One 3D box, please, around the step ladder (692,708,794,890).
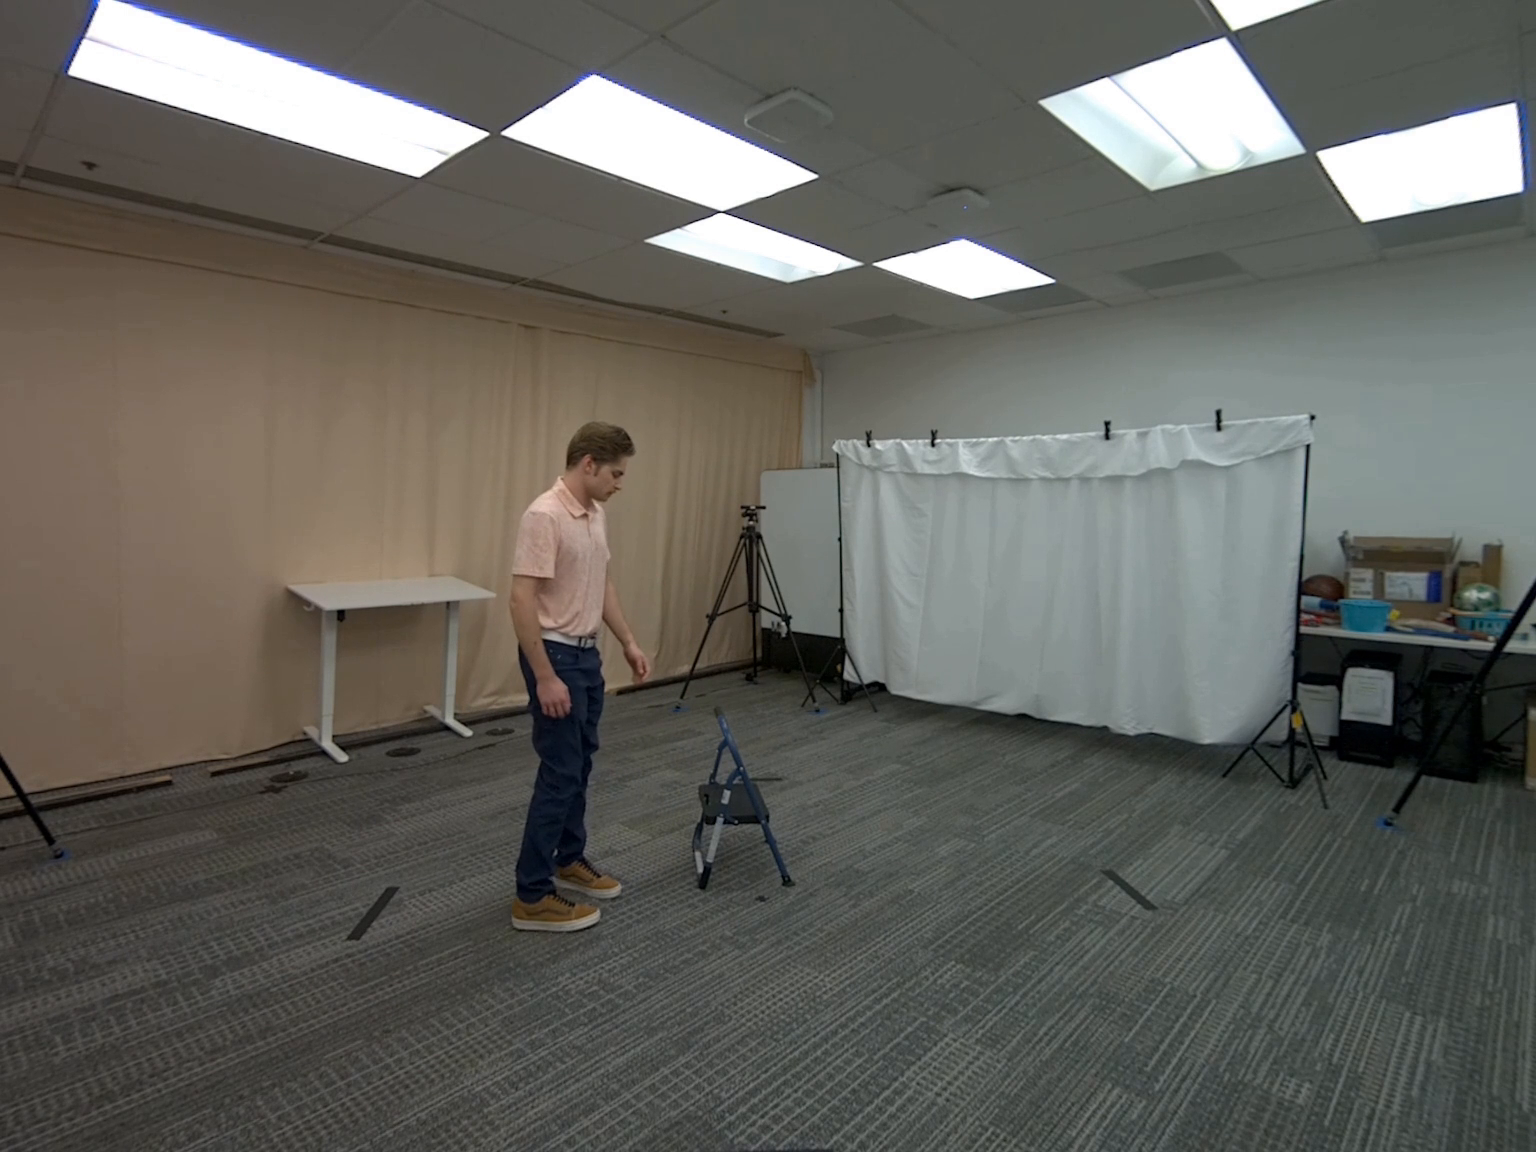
[{"bbox_3d":[-0.117,0.820,3.262,0.346,0.605,0.435,-1,3,-8],"label":"step ladder"}]
